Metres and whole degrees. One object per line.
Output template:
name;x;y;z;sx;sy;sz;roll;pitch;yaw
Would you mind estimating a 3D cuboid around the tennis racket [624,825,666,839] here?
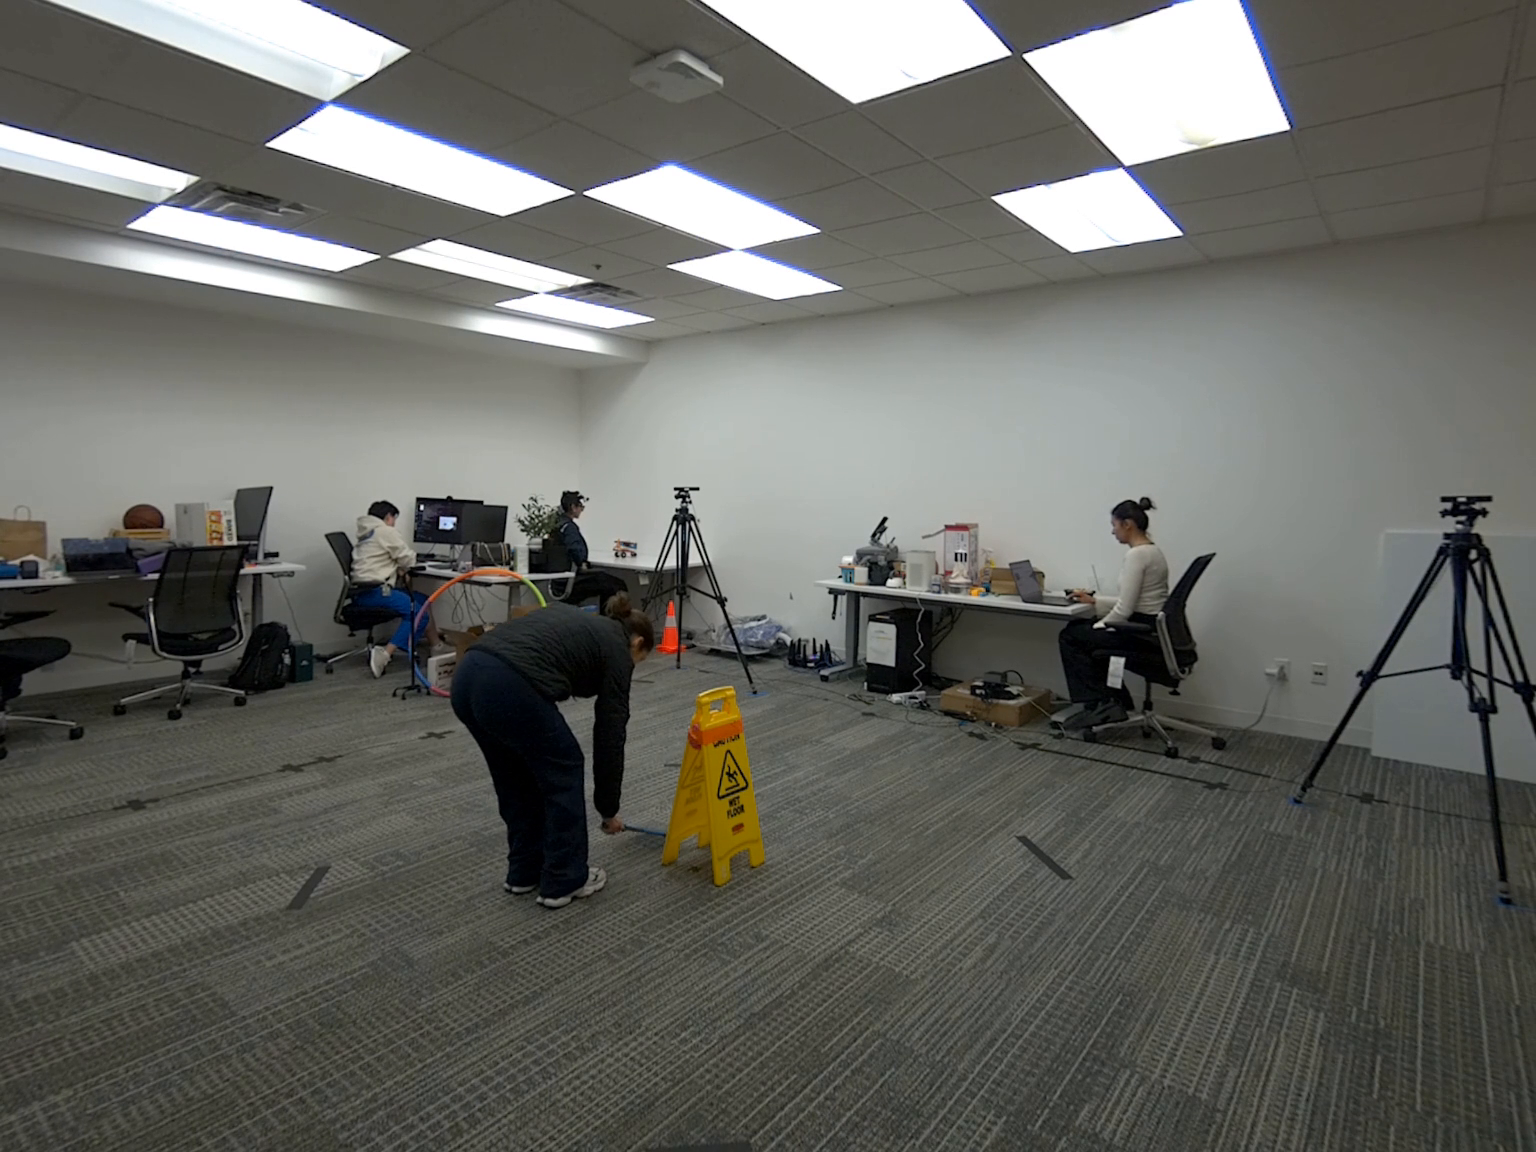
tennis racket;-0.497;0.964;3.240;0.219;0.032;0.416;1;-17;26
